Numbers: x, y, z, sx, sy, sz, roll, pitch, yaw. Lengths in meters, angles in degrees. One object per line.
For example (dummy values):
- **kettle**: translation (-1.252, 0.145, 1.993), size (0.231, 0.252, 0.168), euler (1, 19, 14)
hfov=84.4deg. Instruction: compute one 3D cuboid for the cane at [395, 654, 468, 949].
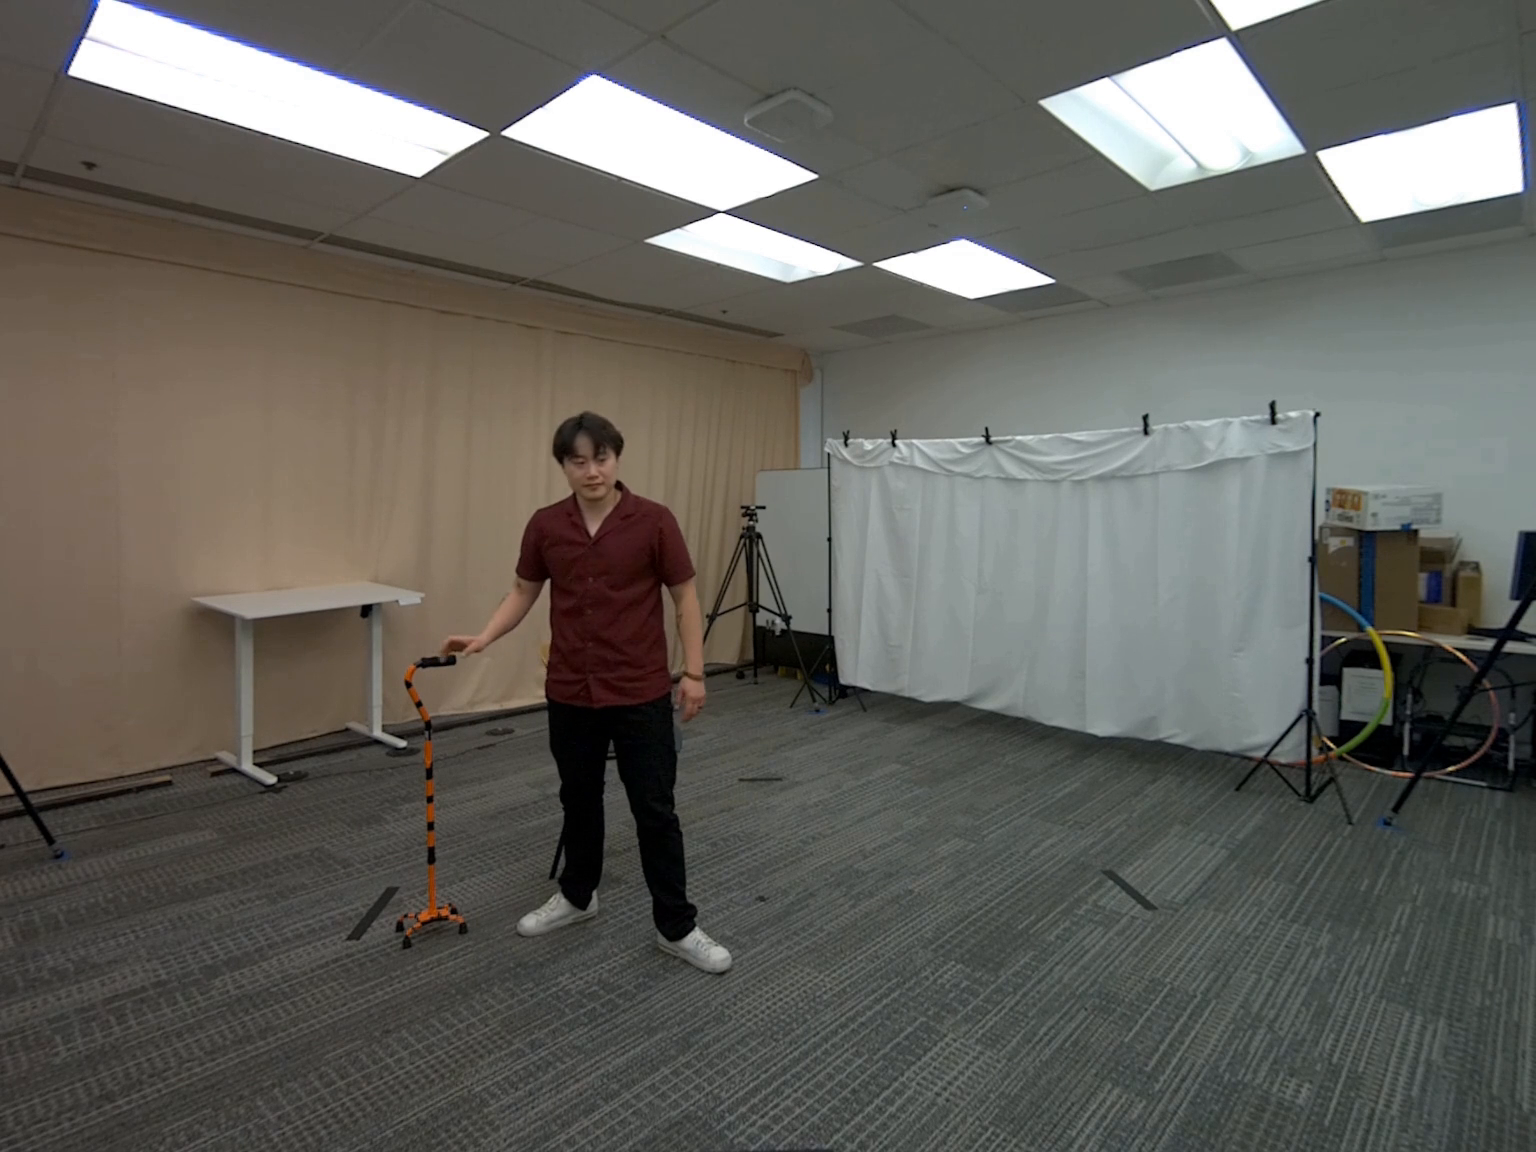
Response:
- **cane**: translation (-1.118, 0.730, 2.746), size (0.201, 0.906, 0.156), euler (-2, 3, -32)
